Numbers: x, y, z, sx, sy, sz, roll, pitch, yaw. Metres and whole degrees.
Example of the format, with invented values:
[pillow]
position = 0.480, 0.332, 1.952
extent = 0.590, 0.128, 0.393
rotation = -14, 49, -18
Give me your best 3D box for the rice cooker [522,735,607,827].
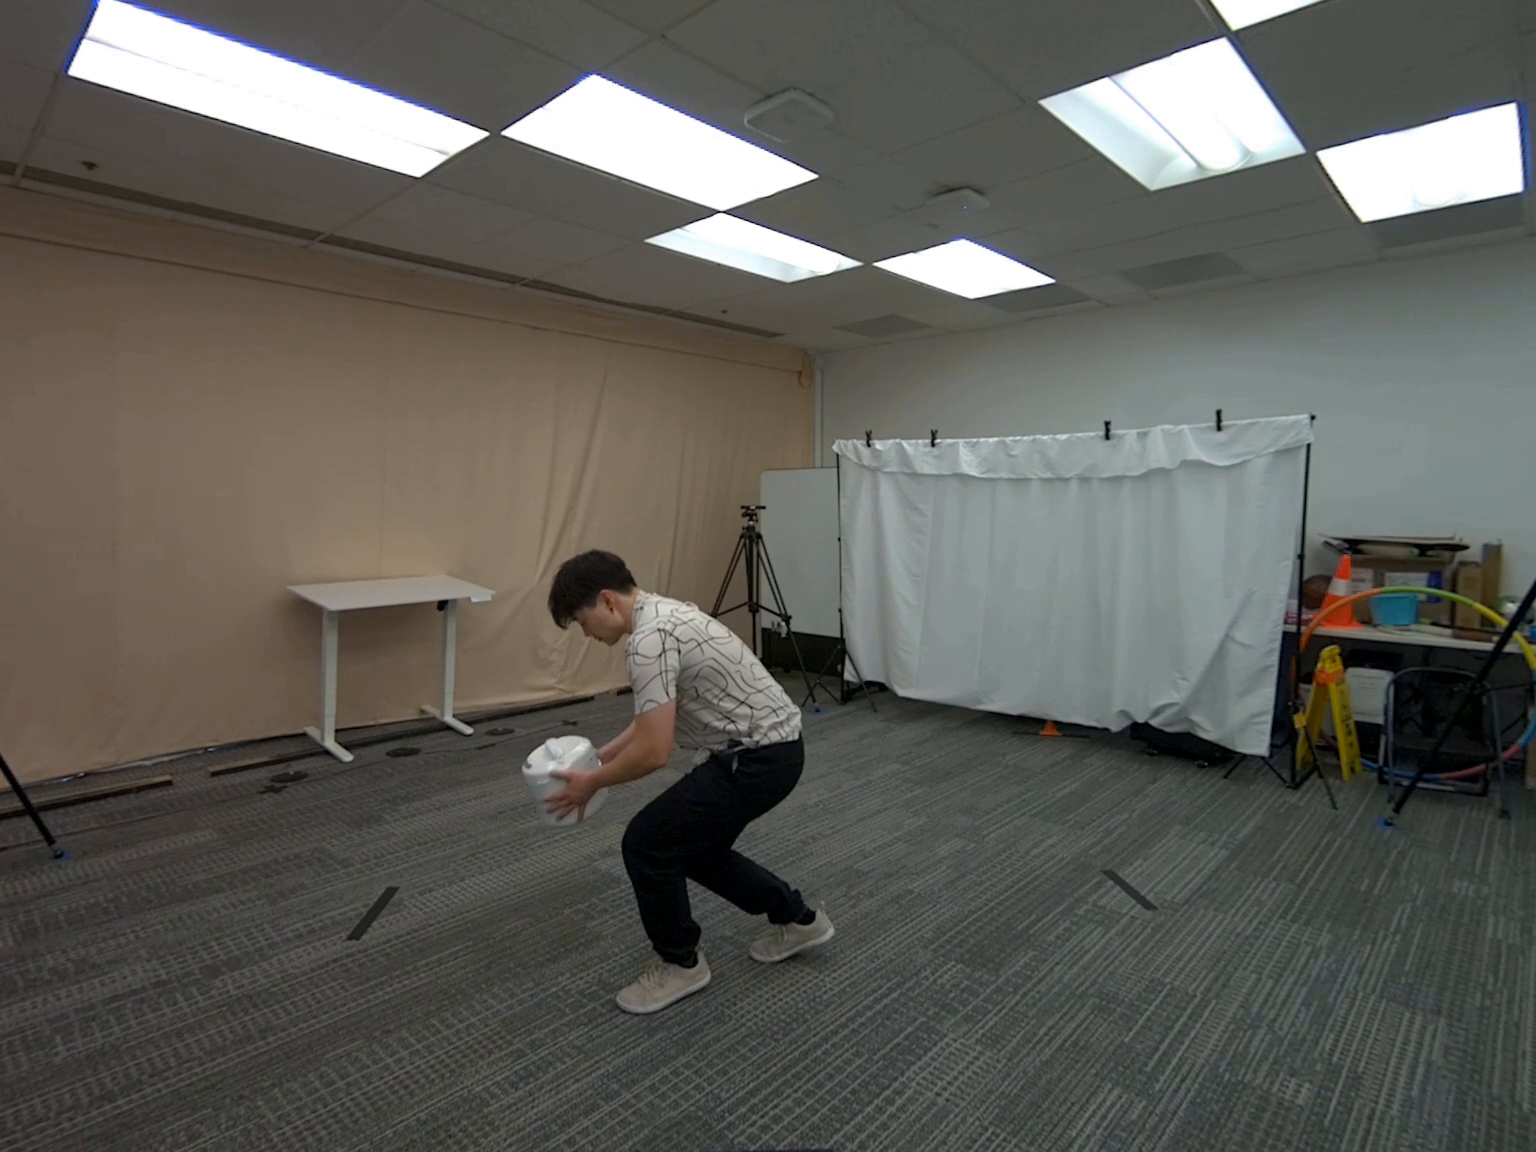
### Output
[rice cooker]
position = -0.586, 0.577, 2.450
extent = 0.214, 0.230, 0.226
rotation = -22, 14, -19
